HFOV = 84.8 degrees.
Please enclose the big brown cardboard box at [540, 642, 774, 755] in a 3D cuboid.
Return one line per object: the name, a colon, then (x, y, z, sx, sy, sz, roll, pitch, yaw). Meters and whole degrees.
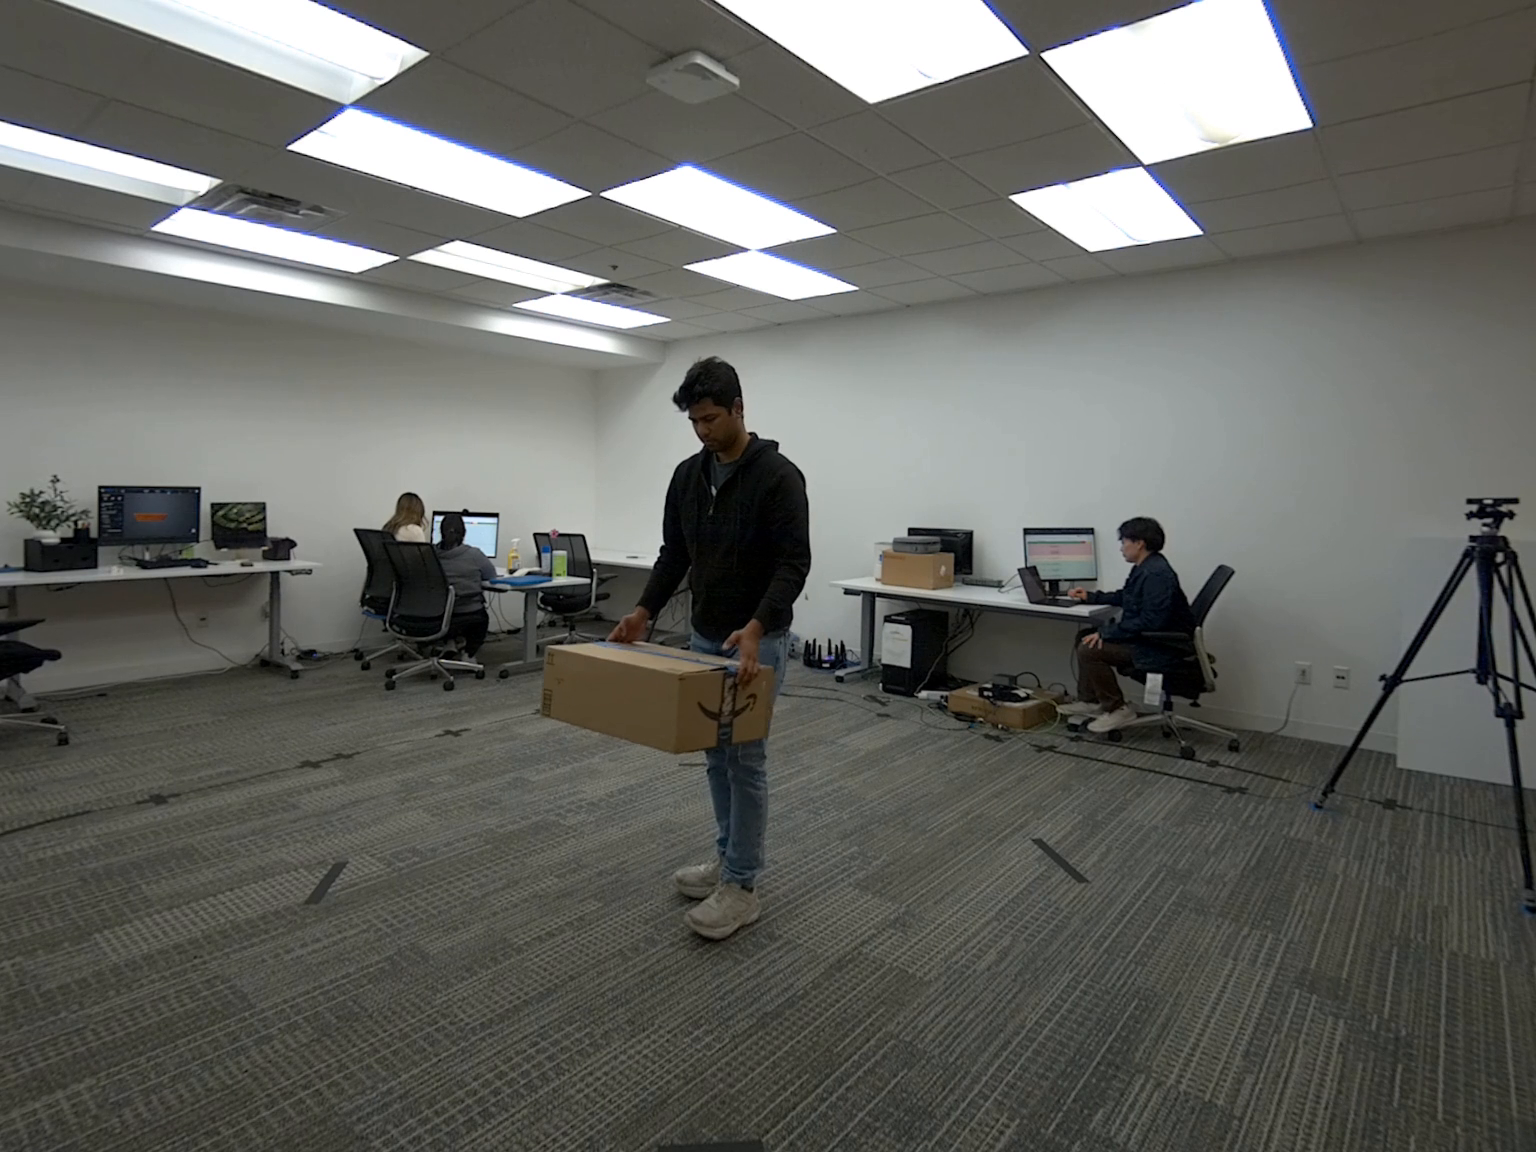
big brown cardboard box: (-0.344, 0.345, 2.575, 0.608, 0.233, 0.404, 5, 1, 38)
